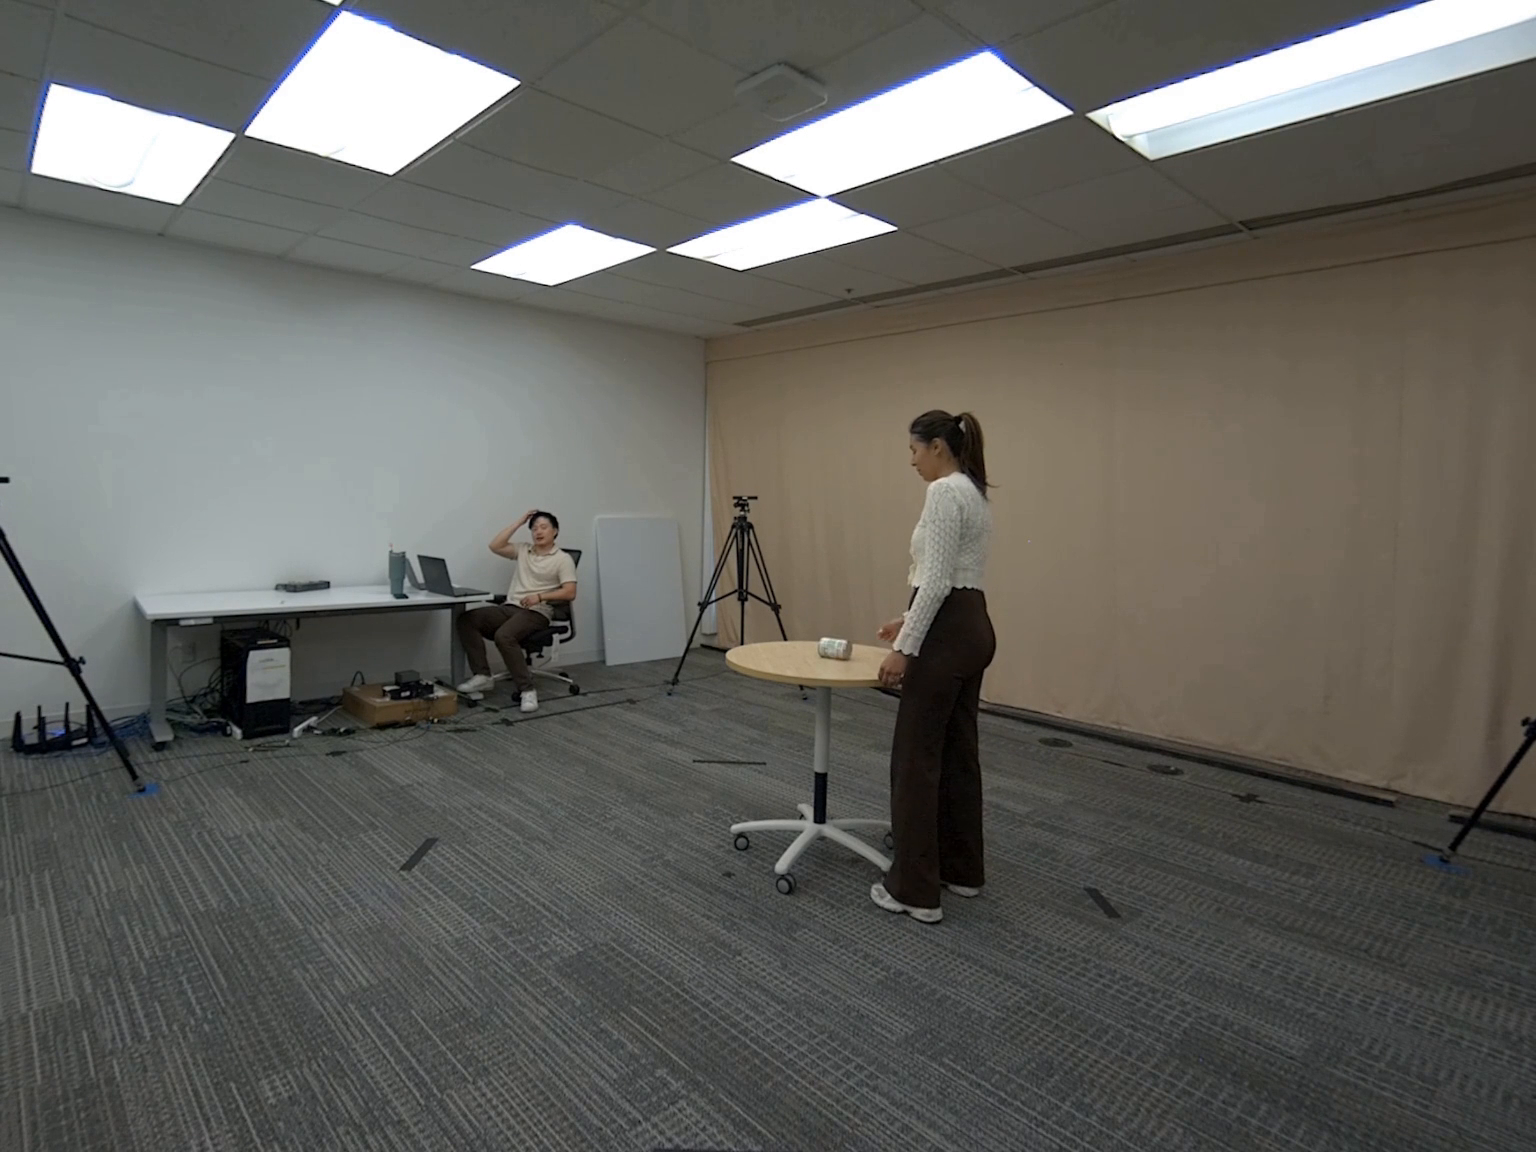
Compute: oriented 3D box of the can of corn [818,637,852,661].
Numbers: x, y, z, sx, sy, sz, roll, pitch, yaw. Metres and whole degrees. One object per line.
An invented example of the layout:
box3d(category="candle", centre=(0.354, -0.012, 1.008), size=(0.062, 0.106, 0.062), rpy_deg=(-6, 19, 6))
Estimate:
box3d(category="can of corn", centre=(0.247, 0.279, 3.244), size=(0.113, 0.074, 0.073), rpy_deg=(5, 5, 29))
